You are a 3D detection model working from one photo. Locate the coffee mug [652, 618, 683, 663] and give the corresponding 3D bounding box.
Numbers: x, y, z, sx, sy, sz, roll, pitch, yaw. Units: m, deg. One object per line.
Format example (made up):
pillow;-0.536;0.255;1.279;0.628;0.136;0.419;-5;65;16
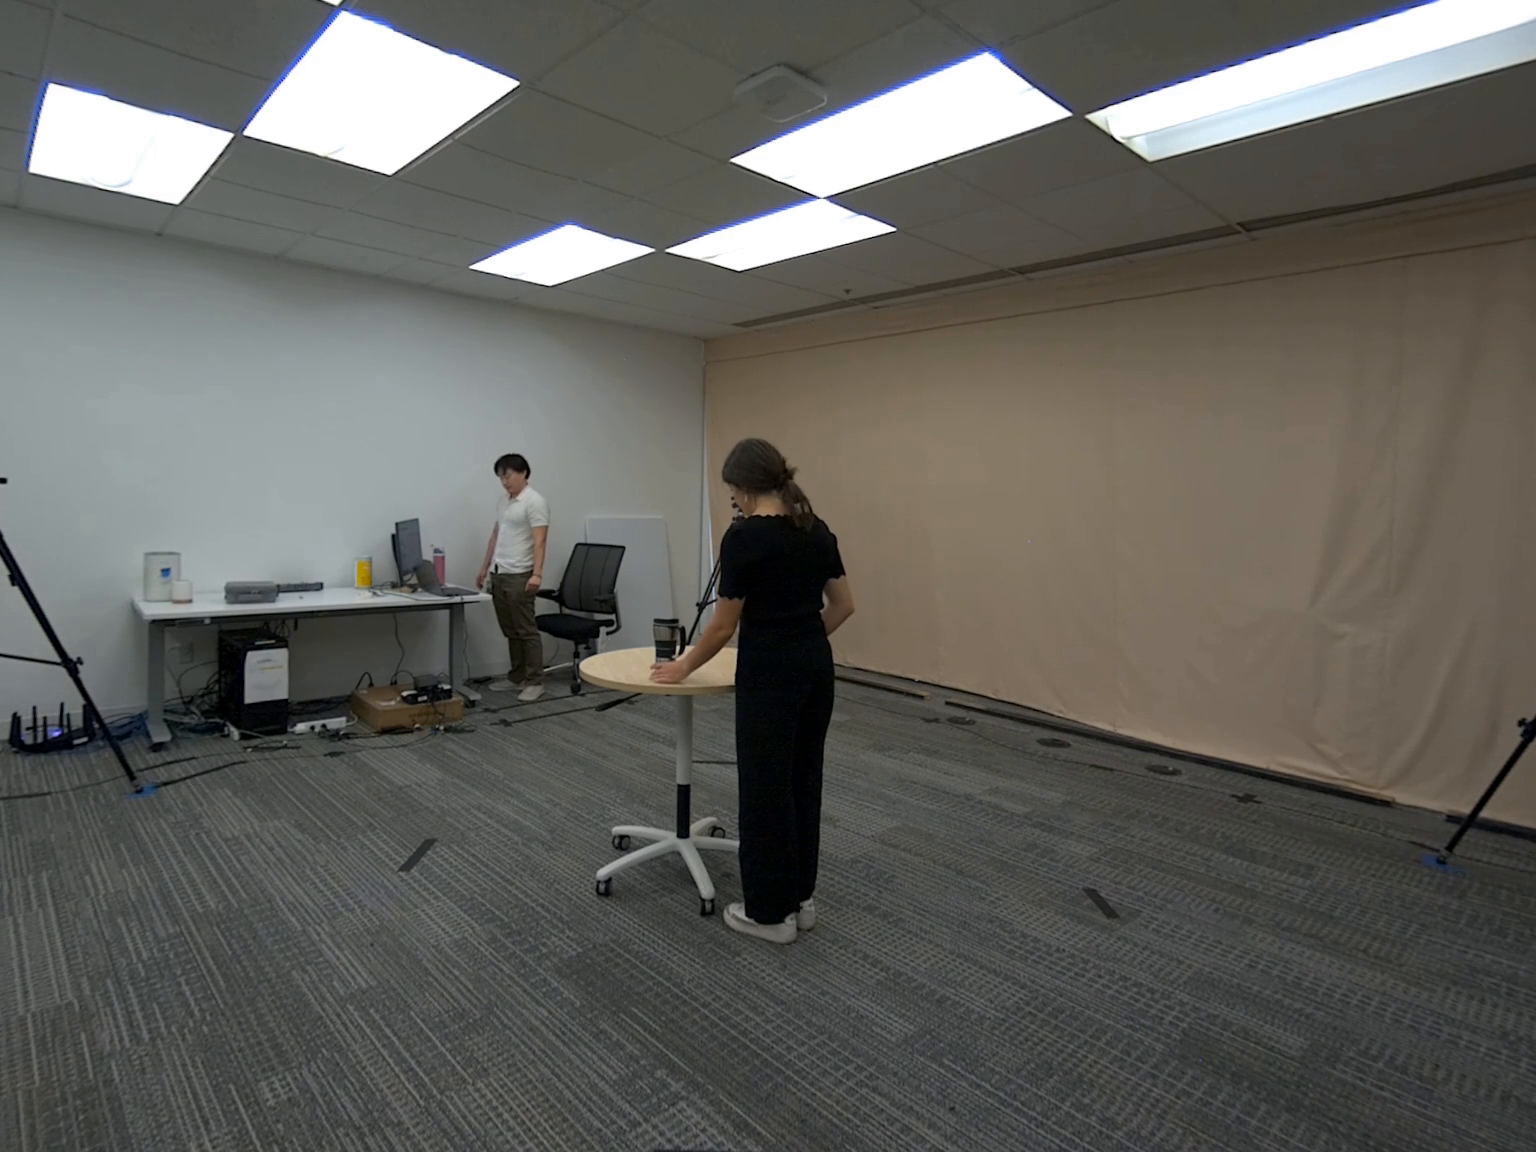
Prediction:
coffee mug;-0.333;0.246;2.799;0.086;0.203;0.124;1;2;-28
